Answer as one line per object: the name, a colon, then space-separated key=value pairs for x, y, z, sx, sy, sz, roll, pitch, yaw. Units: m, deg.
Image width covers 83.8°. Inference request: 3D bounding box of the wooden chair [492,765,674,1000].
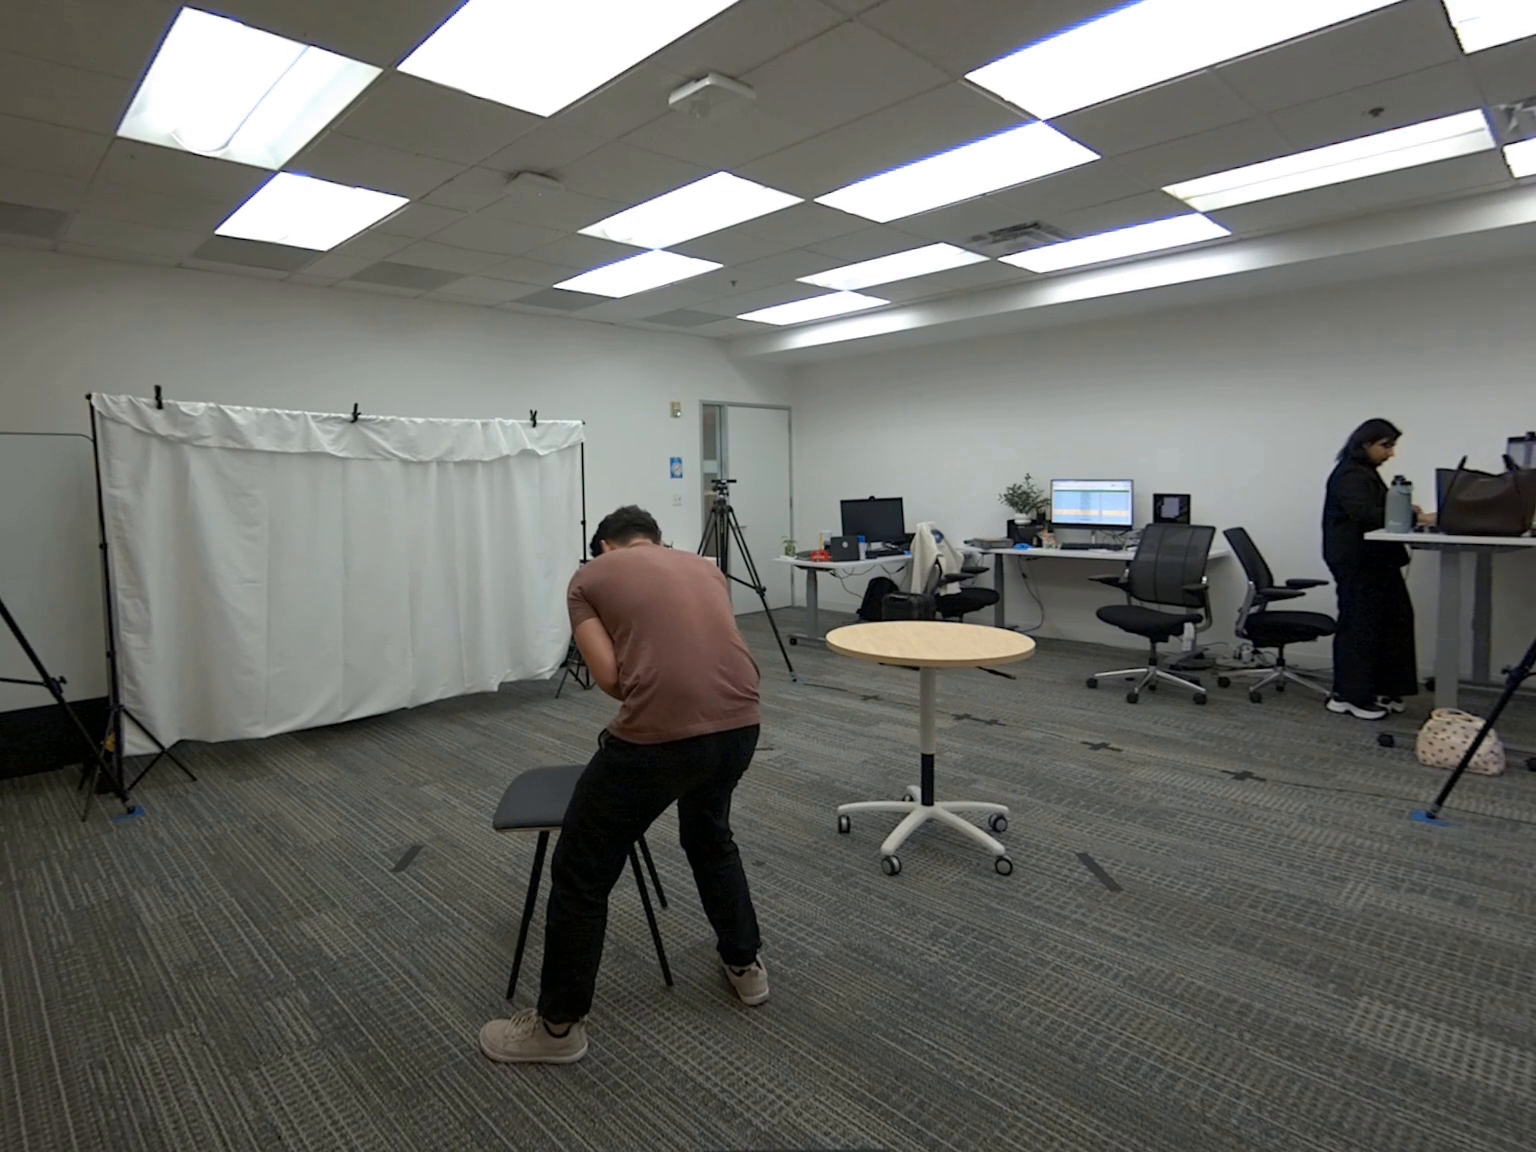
wooden chair: x=-0.537 y=0.698 z=2.535 sx=0.520 sy=0.874 sz=0.483 roll=3 pitch=4 yaw=-7
